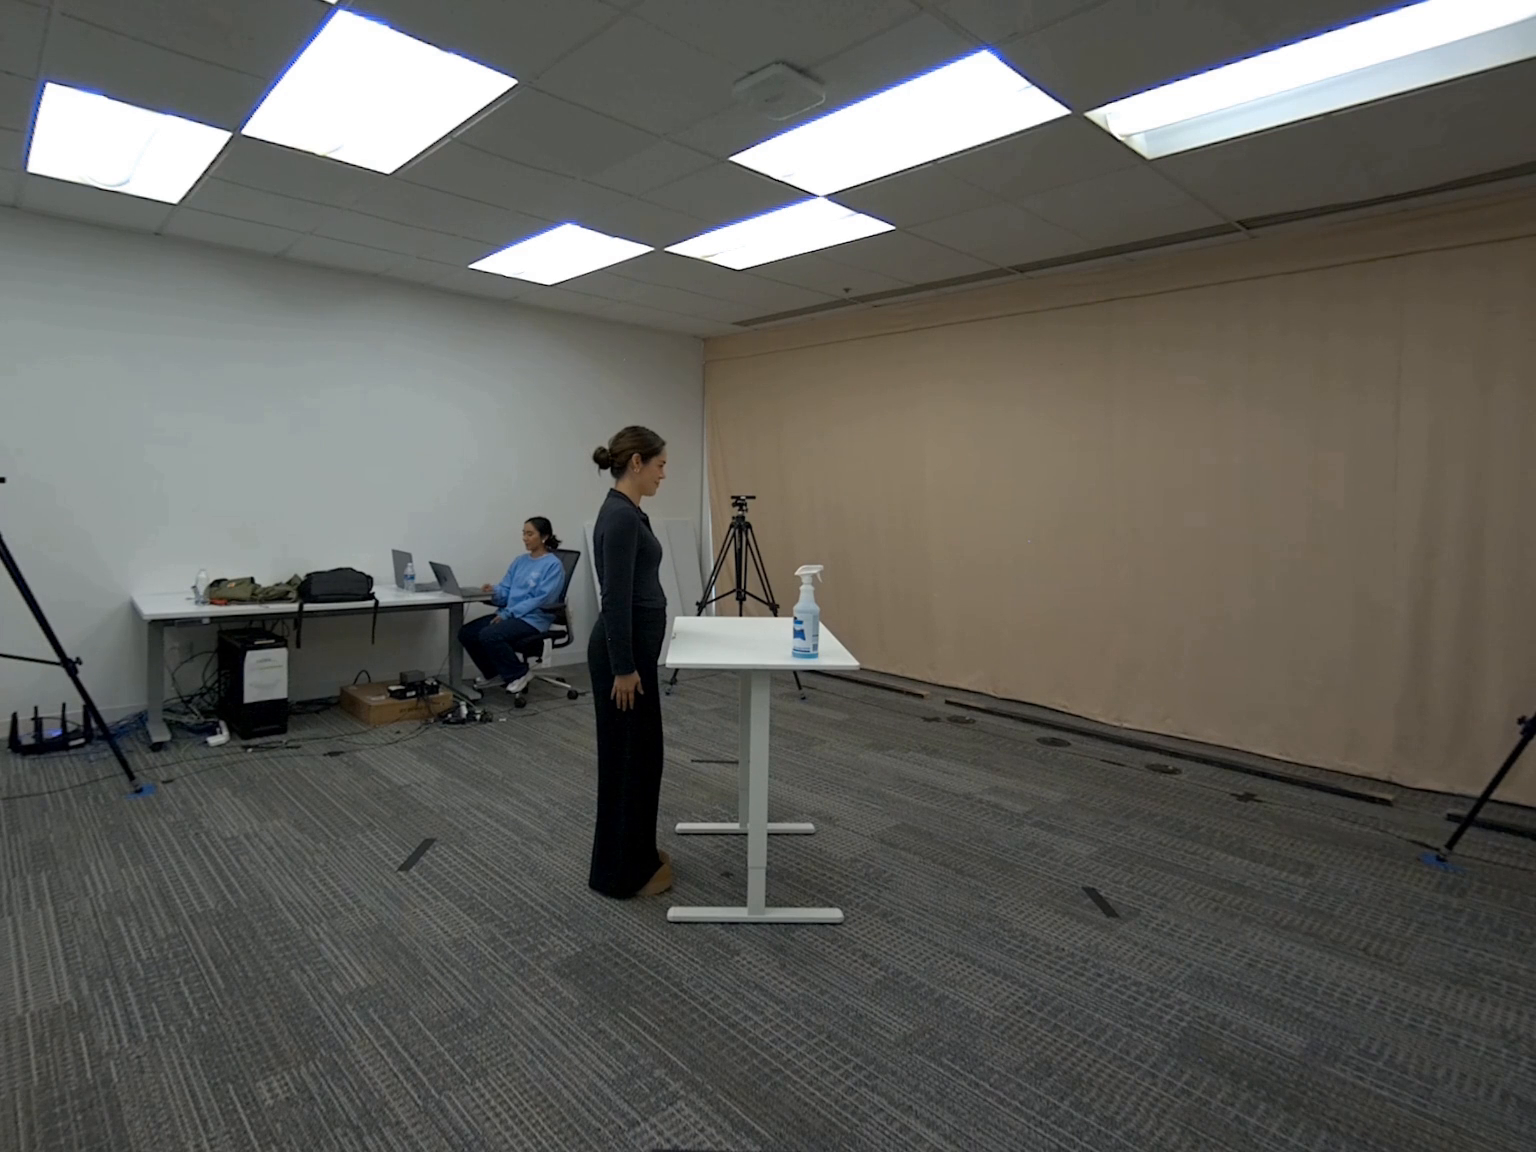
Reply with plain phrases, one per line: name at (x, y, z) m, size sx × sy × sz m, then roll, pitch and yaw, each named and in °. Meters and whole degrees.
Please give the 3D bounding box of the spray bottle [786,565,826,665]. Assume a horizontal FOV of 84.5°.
spray bottle at (0.120, 0.120, 2.707) m, size 0.091 × 0.296 × 0.086 m, roll 4°, pitch 5°, yaw 19°
